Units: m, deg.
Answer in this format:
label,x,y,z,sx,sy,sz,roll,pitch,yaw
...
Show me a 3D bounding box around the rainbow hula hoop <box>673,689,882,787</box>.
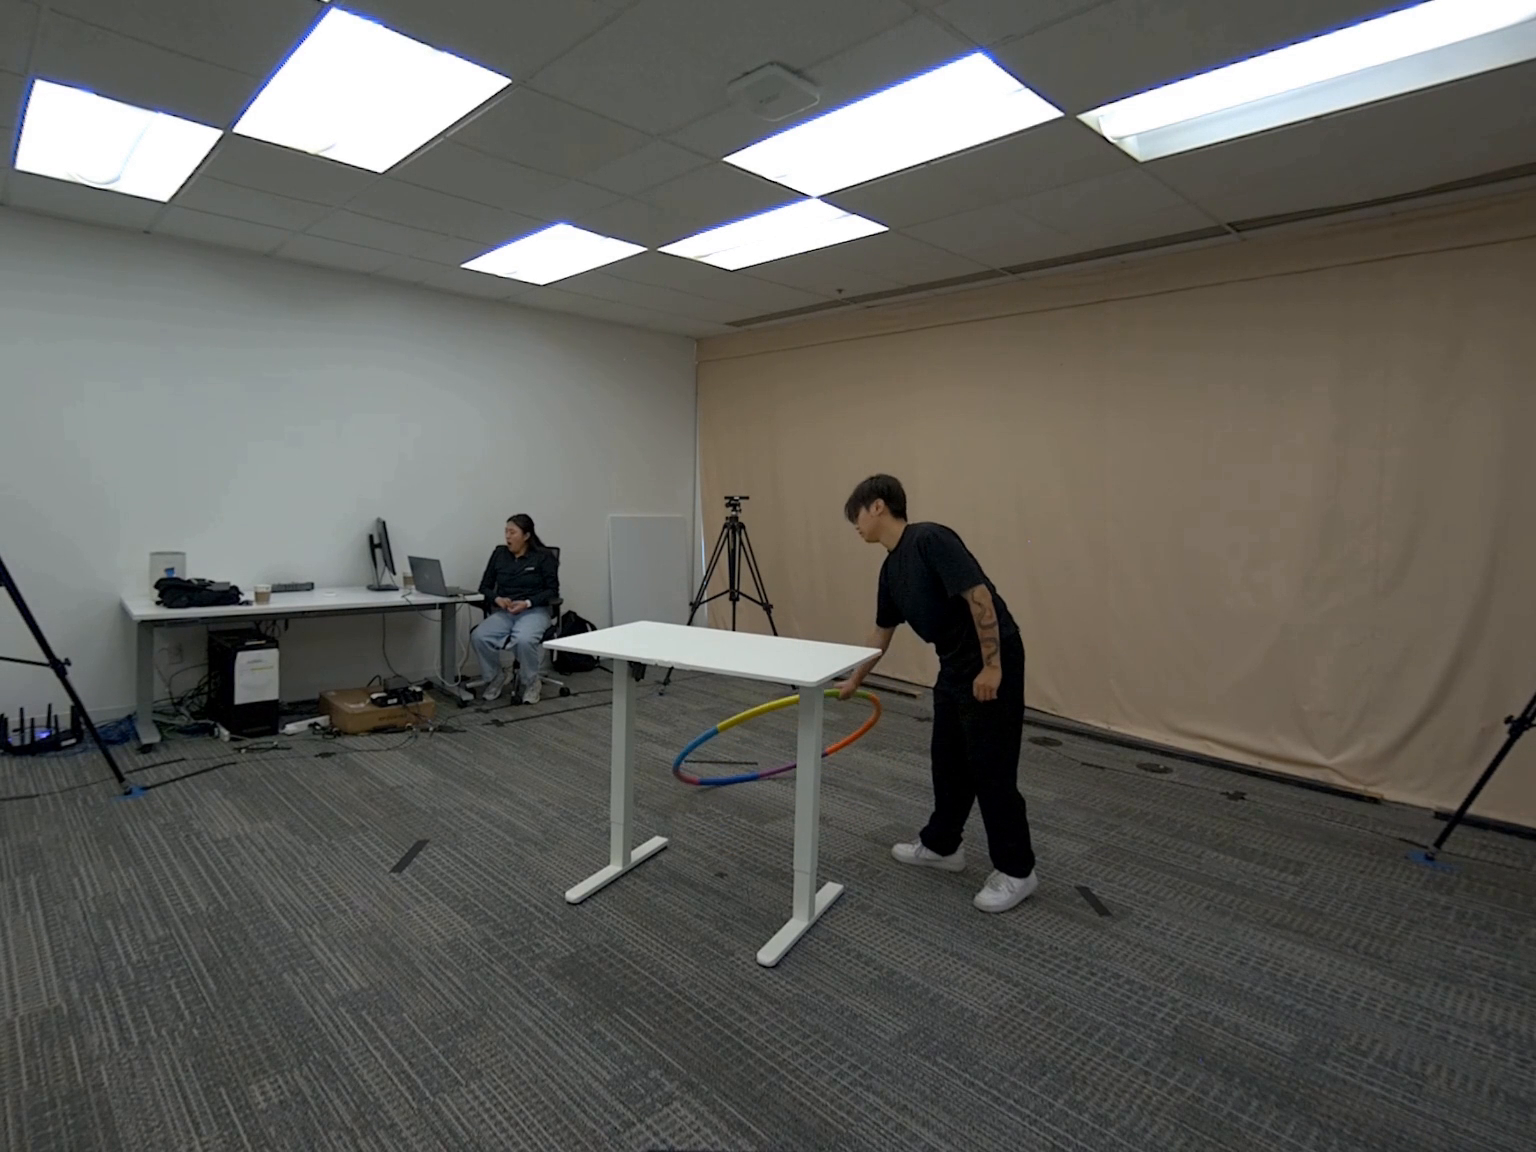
label,x,y,z,sx,sy,sz,roll,pitch,yaw
rainbow hula hoop,0.035,0.740,3.790,0.973,0.036,0.960,-13,-28,-9
